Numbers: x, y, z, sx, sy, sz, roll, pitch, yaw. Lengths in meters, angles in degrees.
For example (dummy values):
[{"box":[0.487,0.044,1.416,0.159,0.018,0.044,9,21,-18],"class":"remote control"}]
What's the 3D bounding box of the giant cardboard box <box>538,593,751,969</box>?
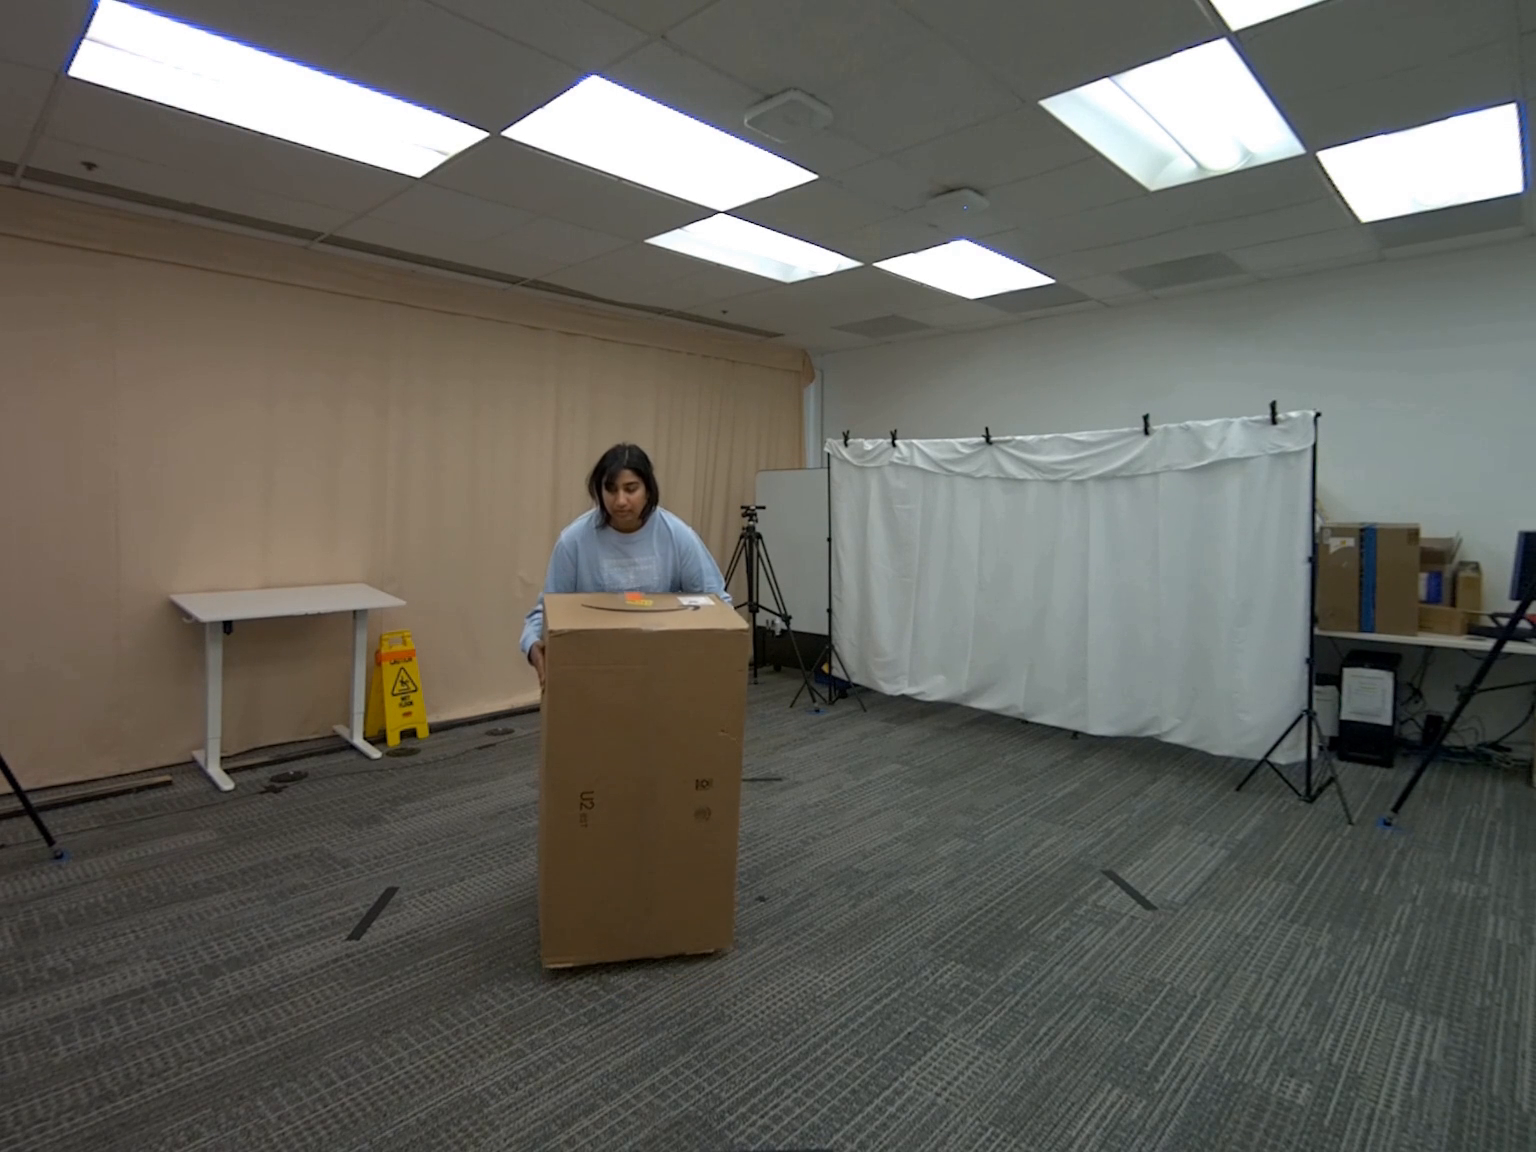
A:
[{"box":[-0.410,0.596,2.615,0.576,1.021,0.456,1,10,-14],"class":"giant cardboard box"}]
